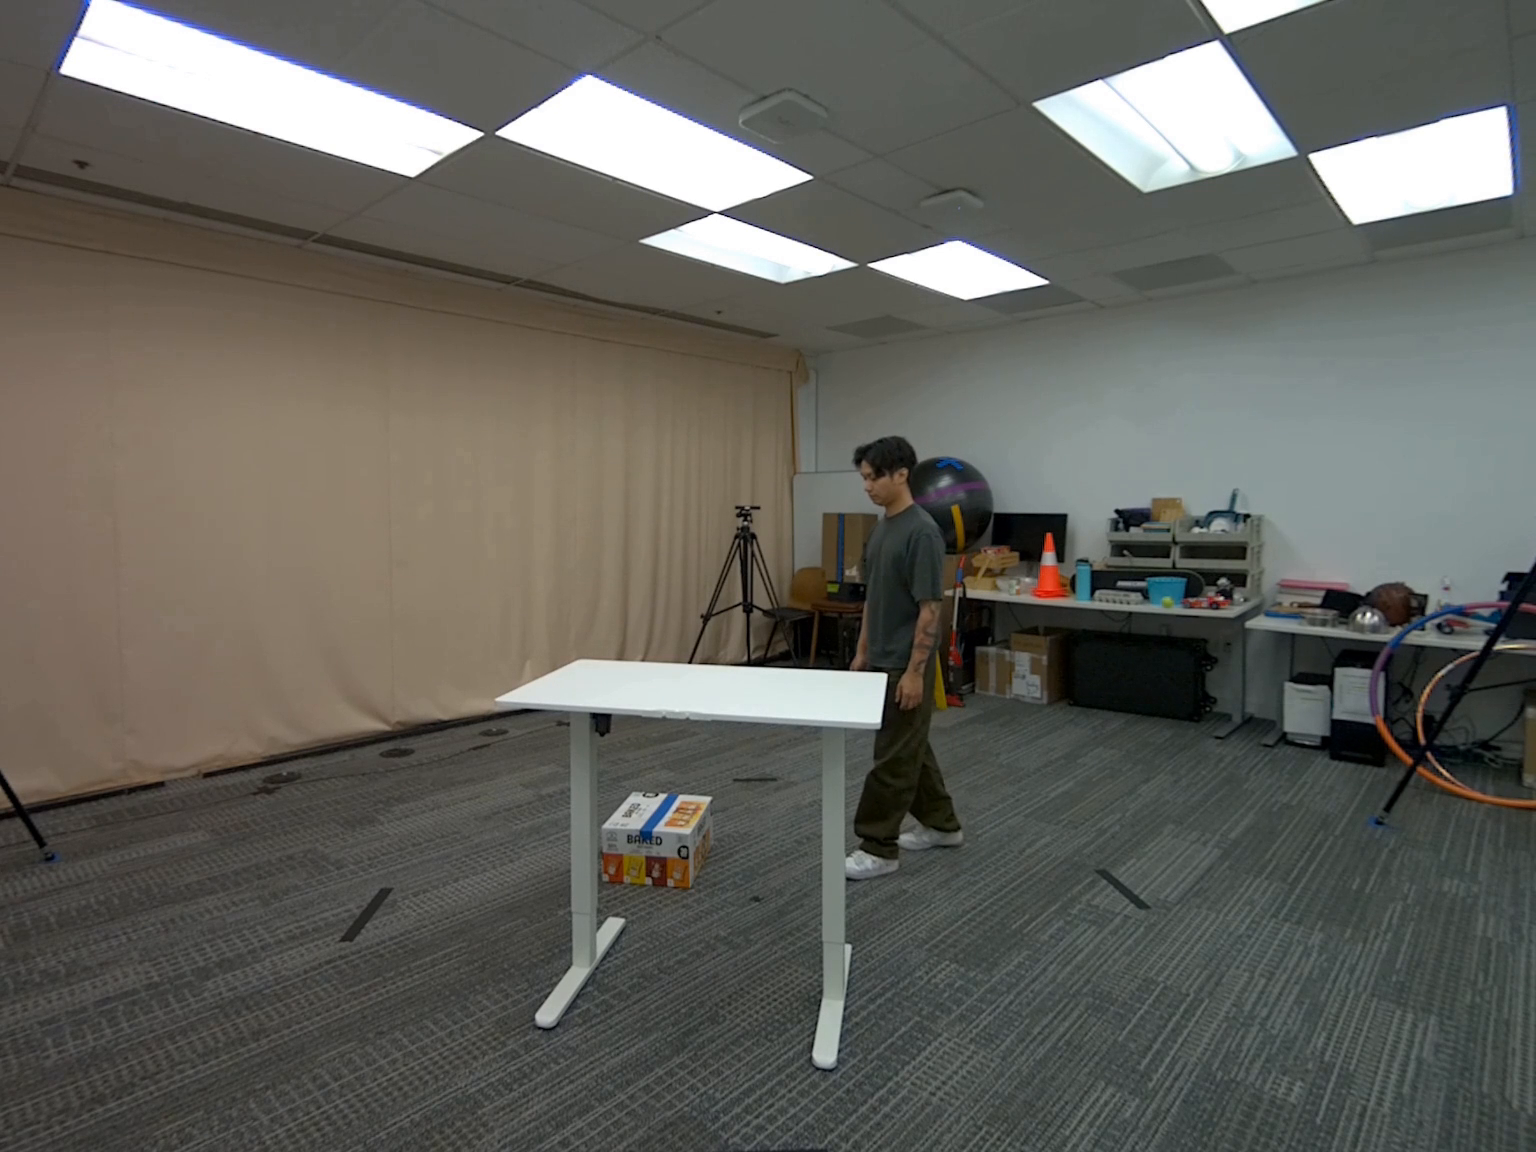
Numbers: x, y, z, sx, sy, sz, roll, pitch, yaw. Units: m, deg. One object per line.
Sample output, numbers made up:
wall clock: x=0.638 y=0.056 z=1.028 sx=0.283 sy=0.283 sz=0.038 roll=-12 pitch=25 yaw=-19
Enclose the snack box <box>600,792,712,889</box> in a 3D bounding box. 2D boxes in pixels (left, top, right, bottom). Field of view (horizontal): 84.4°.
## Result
snack box: x=-0.421 y=1.022 z=3.291 sx=0.344 sy=0.205 sz=0.401 roll=0 pitch=5 yaw=10
